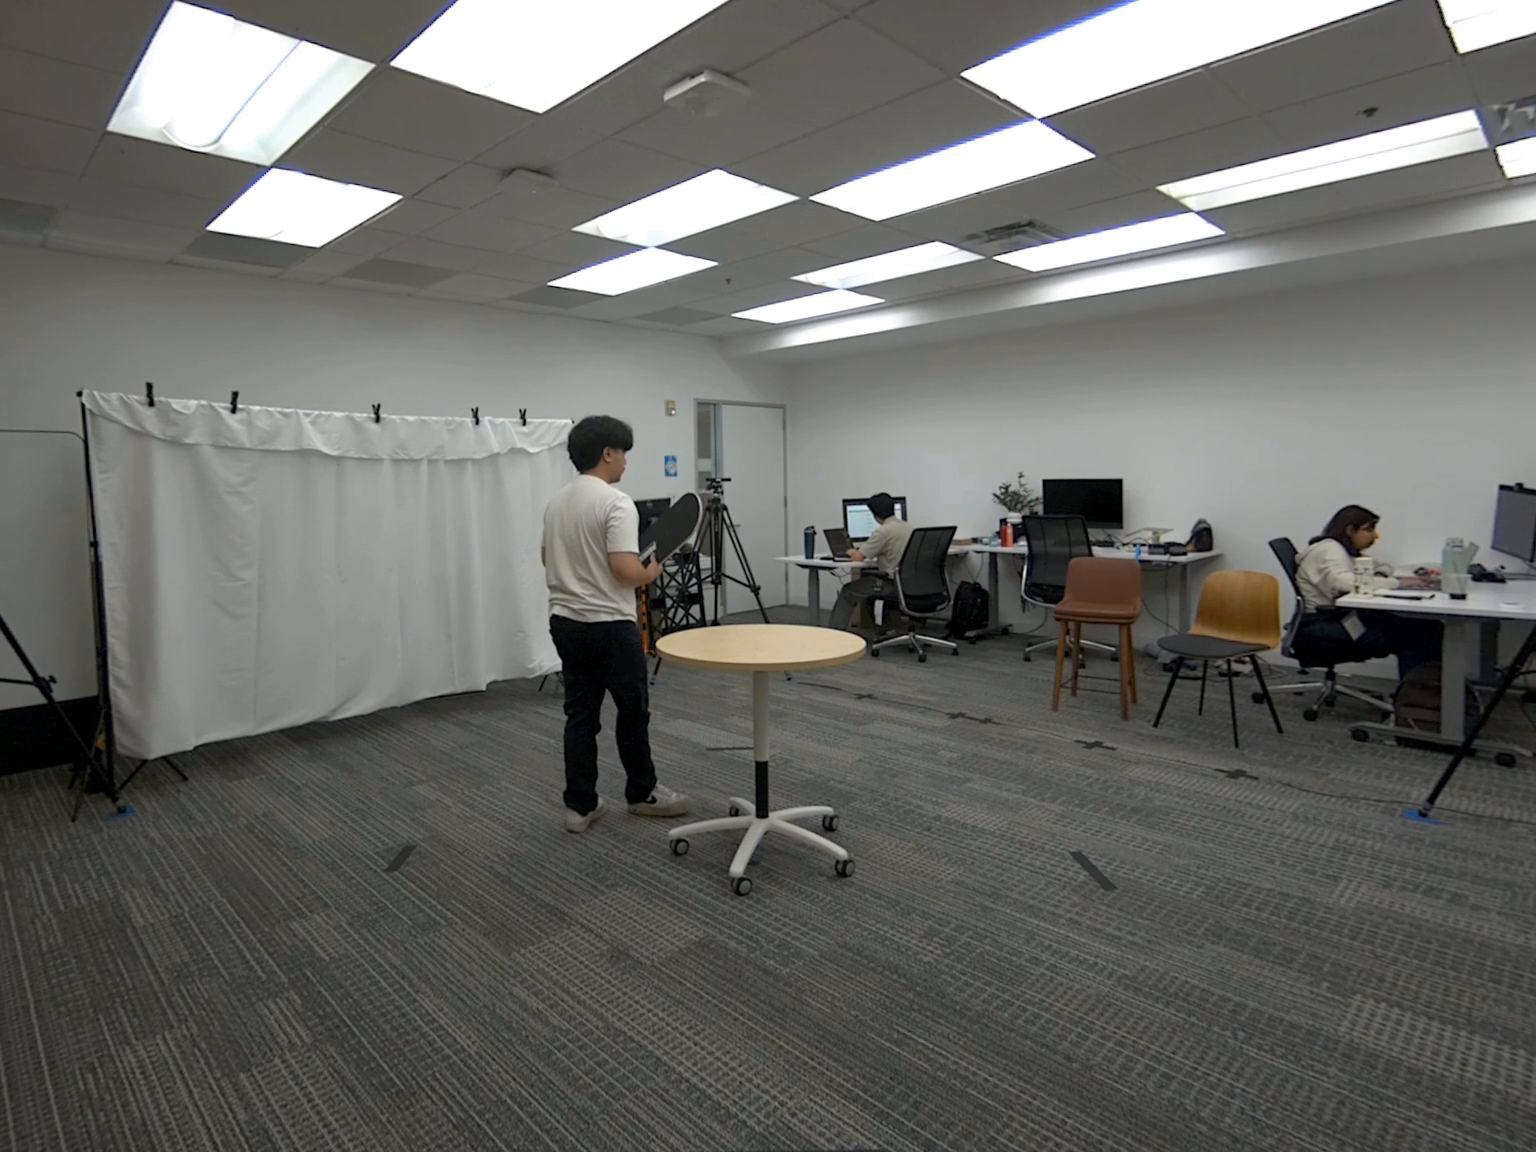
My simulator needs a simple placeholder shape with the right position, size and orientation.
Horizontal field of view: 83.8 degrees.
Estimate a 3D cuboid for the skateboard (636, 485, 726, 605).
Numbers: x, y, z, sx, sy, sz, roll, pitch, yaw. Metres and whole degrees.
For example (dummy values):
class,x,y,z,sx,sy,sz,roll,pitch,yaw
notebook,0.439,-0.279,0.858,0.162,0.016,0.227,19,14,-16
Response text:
class,x,y,z,sx,sy,sz,roll,pitch,yaw
skateboard,-0.516,-0.062,3.638,0.788,0.200,0.106,-38,-38,26
